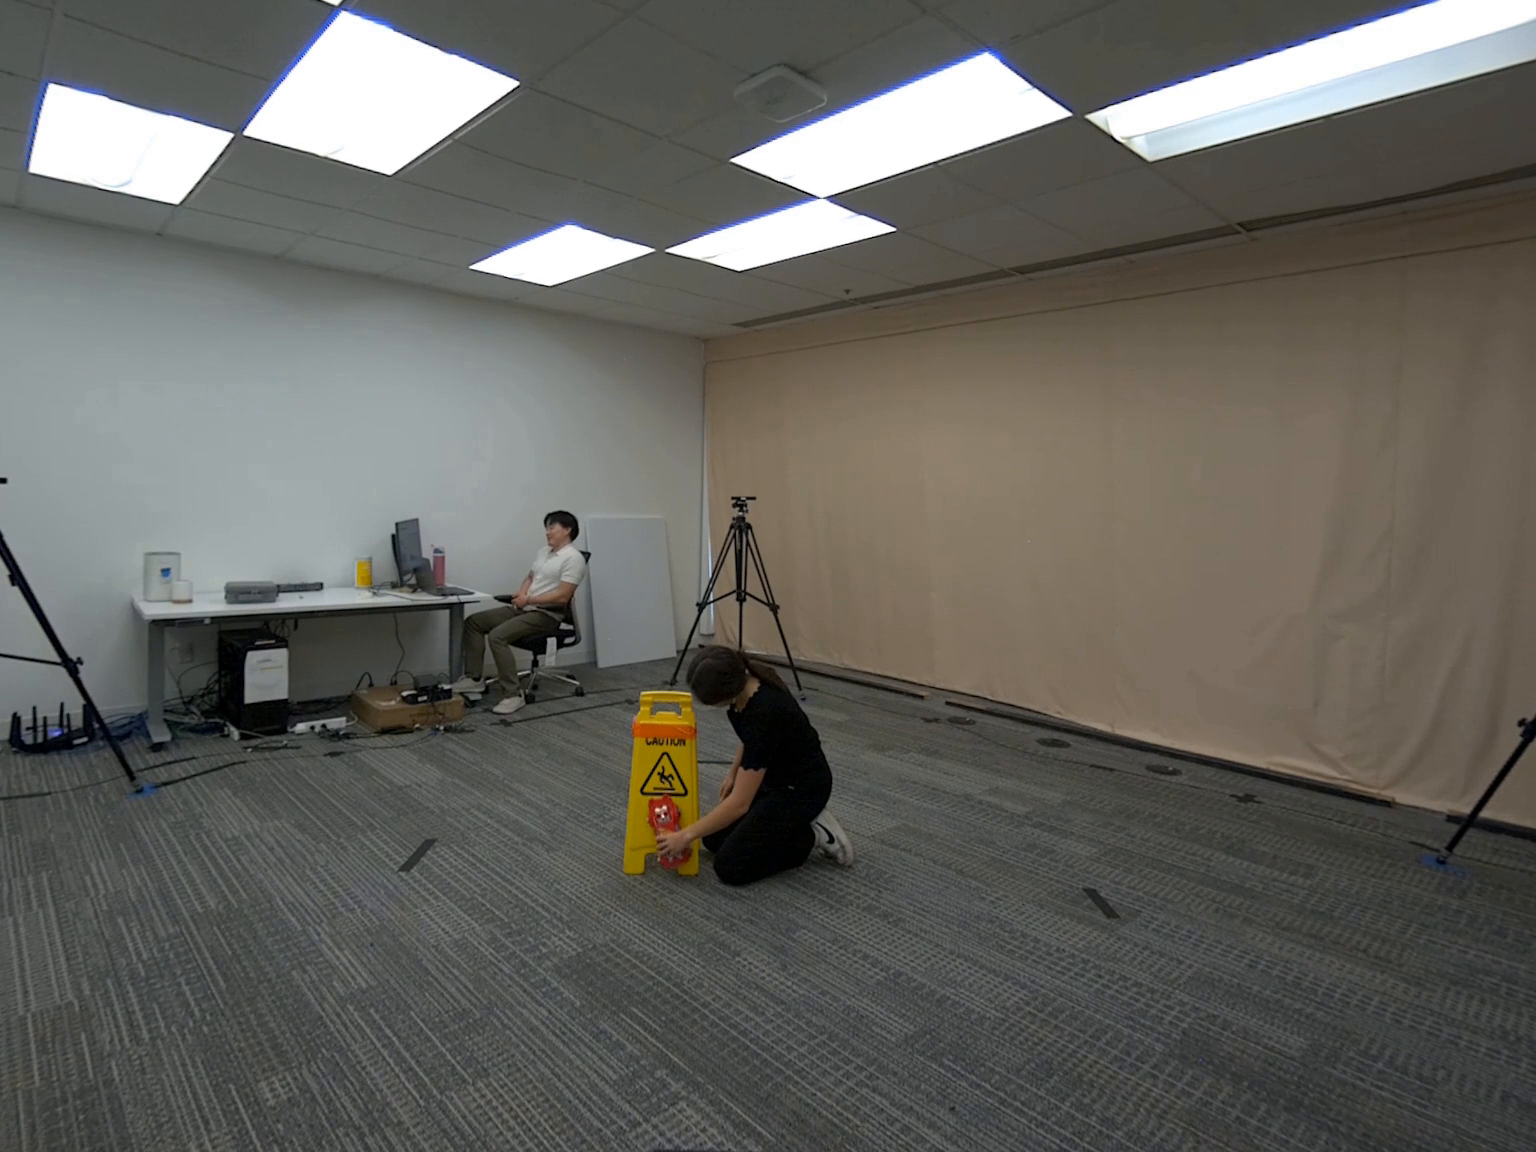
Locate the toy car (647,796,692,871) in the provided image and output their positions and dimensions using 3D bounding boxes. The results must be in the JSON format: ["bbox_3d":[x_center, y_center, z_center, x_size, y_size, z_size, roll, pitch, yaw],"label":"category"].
[{"bbox_3d":[-0.383,0.928,3.074,0.130,0.253,0.084,-15,4,-4],"label":"toy car"}]
